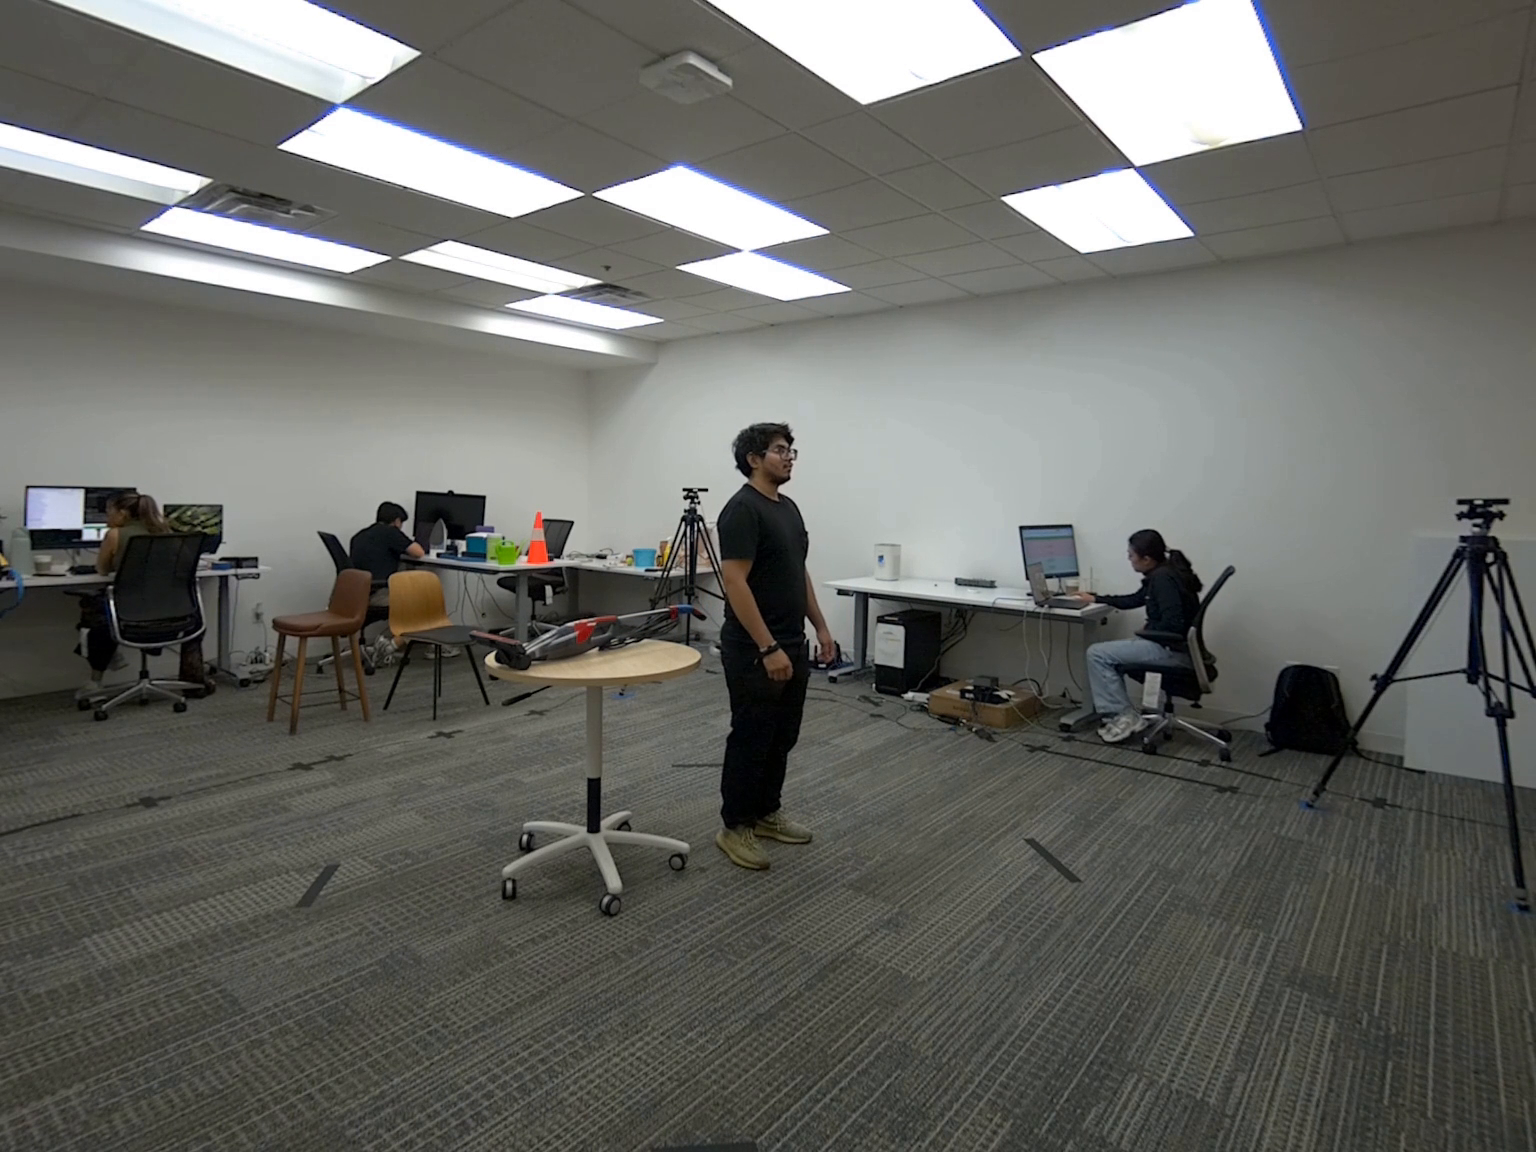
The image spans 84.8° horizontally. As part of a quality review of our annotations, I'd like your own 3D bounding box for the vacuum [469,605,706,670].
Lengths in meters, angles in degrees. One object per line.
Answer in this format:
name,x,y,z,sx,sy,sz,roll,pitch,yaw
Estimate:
vacuum,-0.606,0.223,3.214,0.262,0.143,1.020,12,13,37
